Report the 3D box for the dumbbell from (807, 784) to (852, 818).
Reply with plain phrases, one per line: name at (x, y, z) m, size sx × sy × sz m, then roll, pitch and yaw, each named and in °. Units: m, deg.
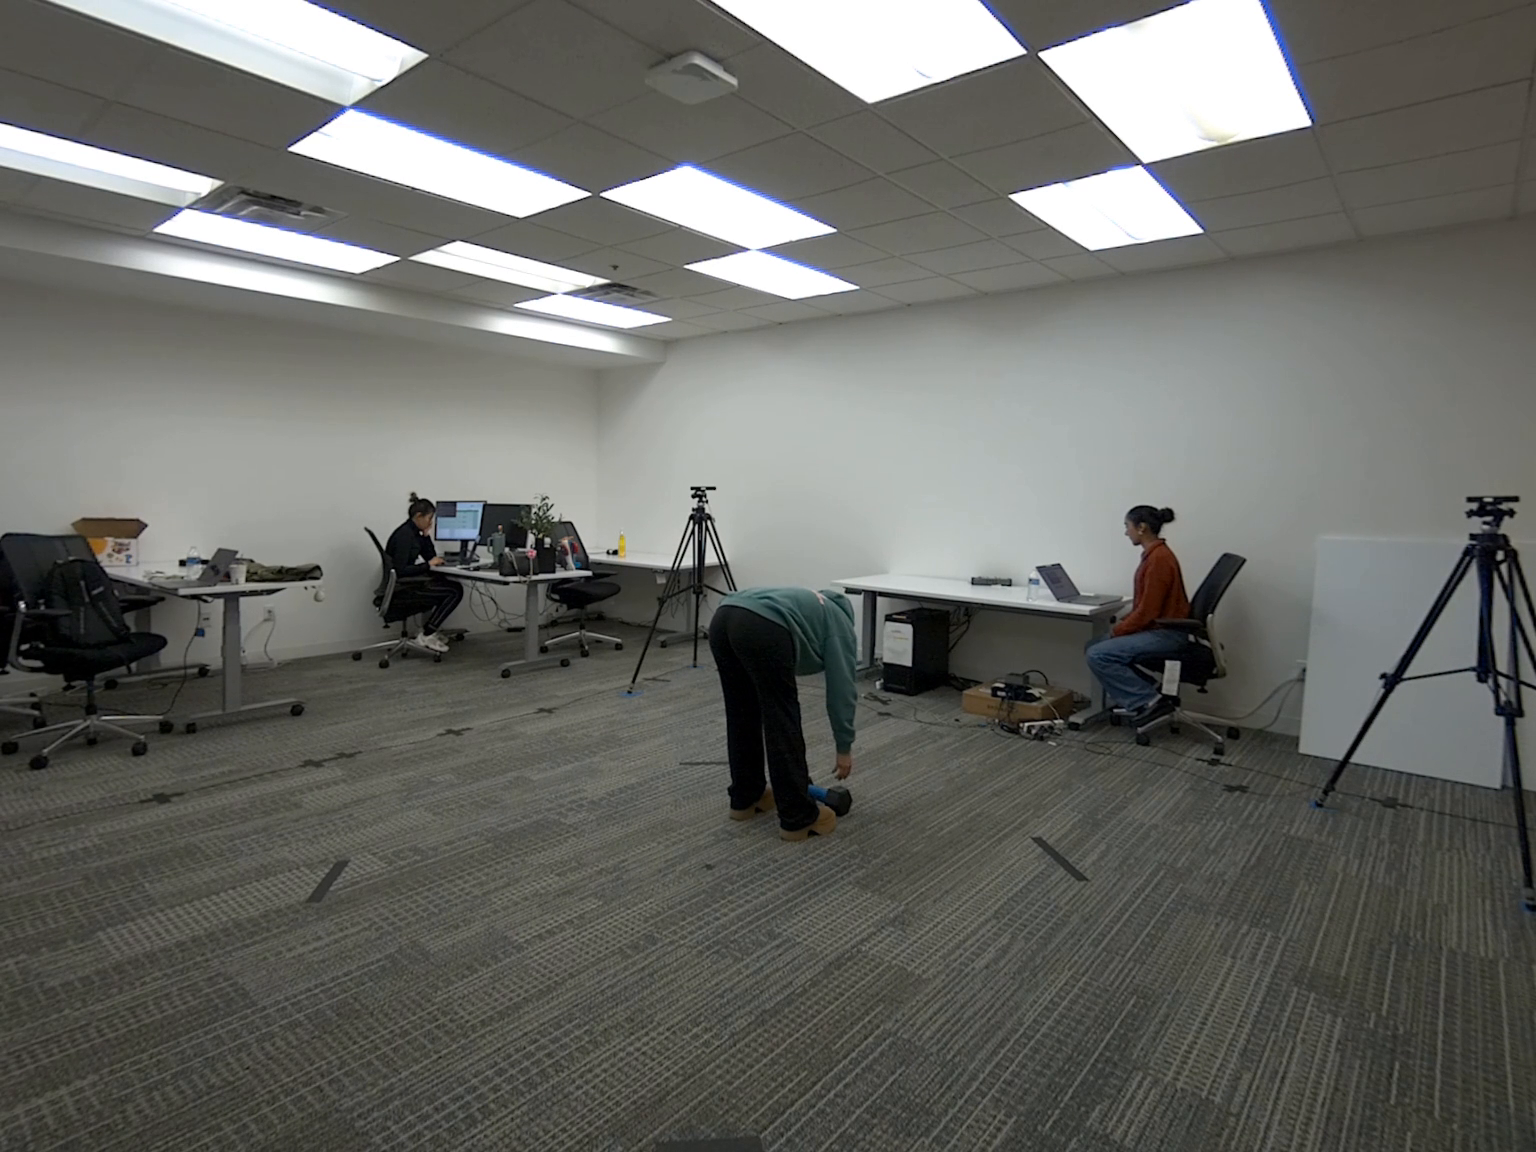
dumbbell at (0.214, 0.955, 3.739) m, size 0.304 × 0.124 × 0.104 m, roll 6°, pitch -25°, yaw 44°
